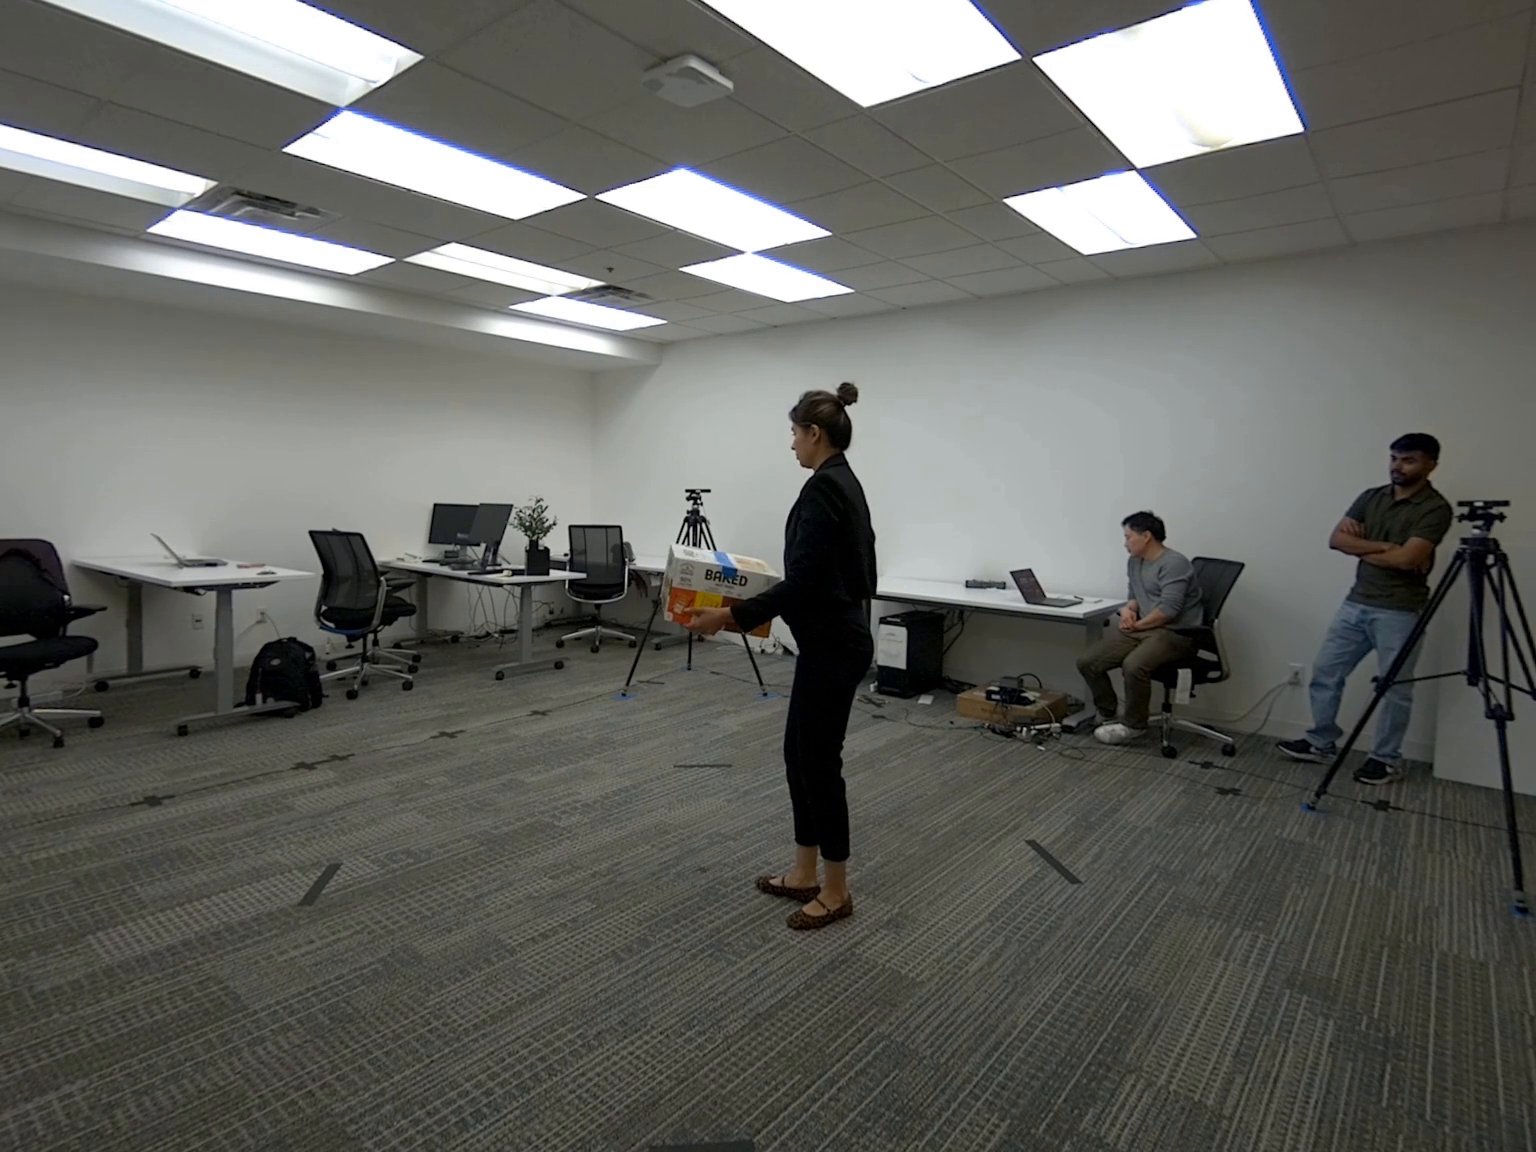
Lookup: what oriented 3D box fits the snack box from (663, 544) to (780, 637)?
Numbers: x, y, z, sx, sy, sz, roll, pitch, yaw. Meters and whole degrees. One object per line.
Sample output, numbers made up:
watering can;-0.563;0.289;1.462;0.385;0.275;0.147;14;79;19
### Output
snack box;-0.181;0.034;2.860;0.337;0.205;0.411;10;7;-9
